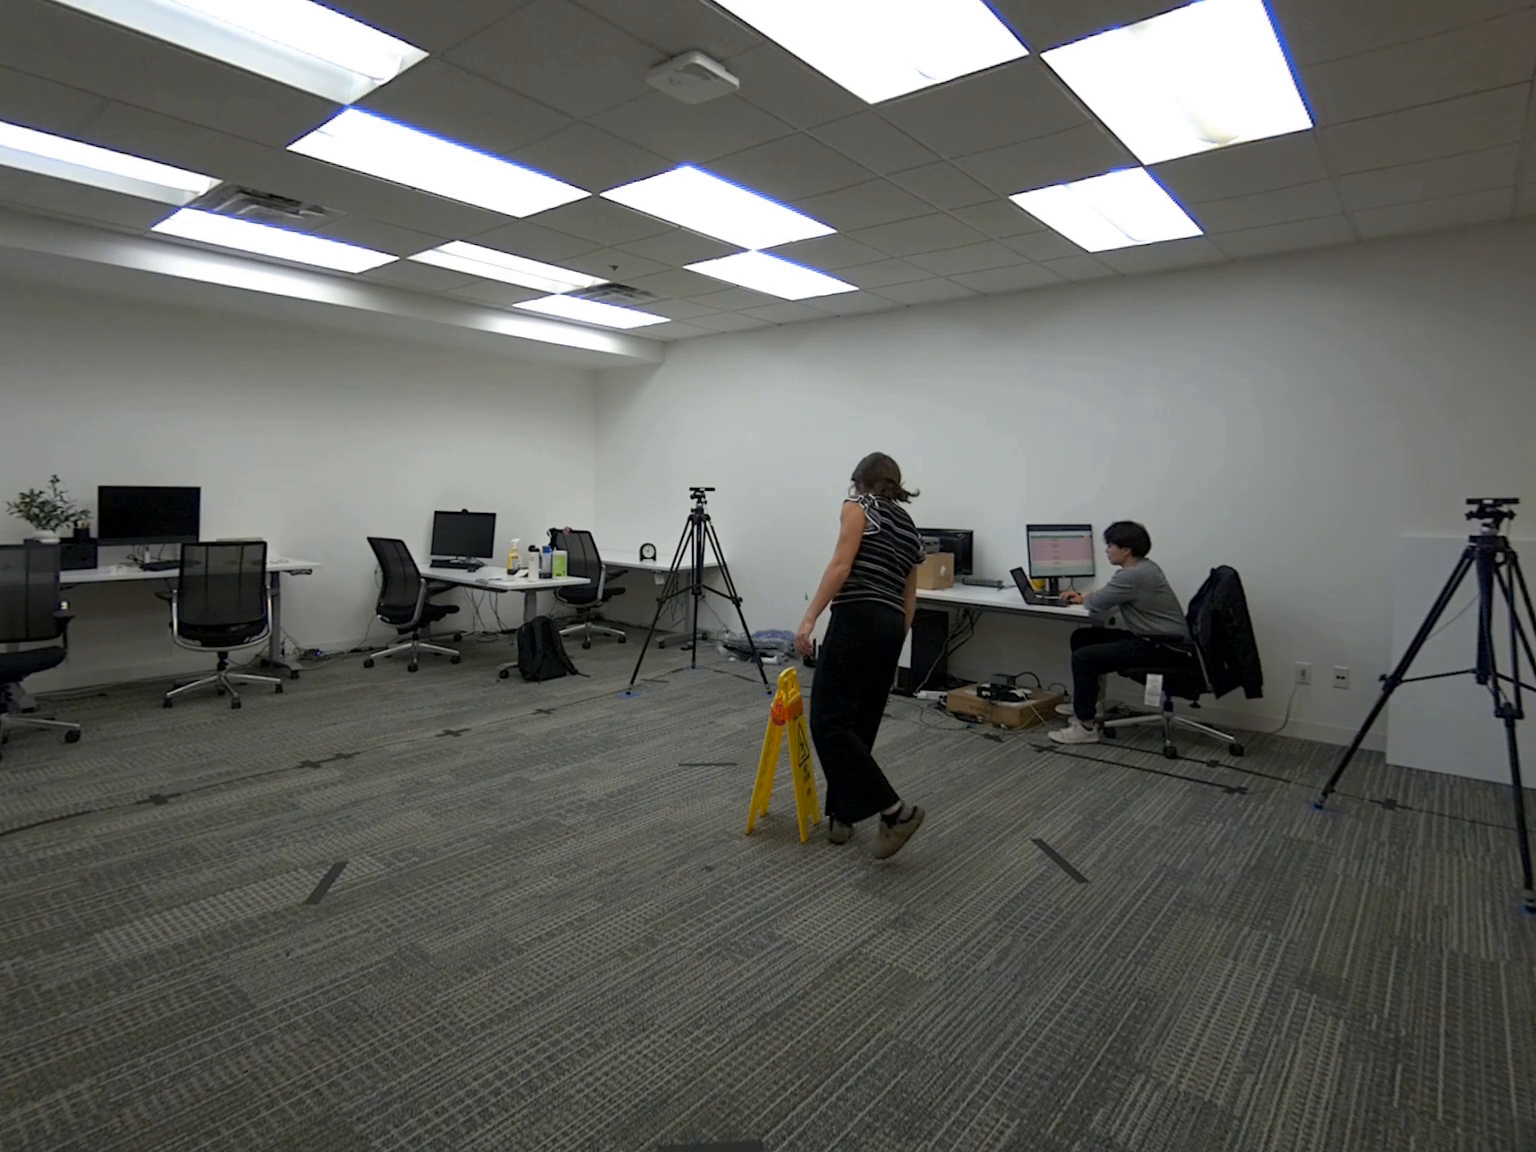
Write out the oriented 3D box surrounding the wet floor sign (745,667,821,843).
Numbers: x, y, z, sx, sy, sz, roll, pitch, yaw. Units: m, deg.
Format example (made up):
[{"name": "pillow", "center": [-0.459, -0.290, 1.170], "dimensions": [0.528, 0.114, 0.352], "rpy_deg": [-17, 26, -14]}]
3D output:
[{"name": "wet floor sign", "center": [0.070, 0.711, 3.499], "dimensions": [0.295, 0.644, 0.278], "rpy_deg": [2, 4, 17]}]
